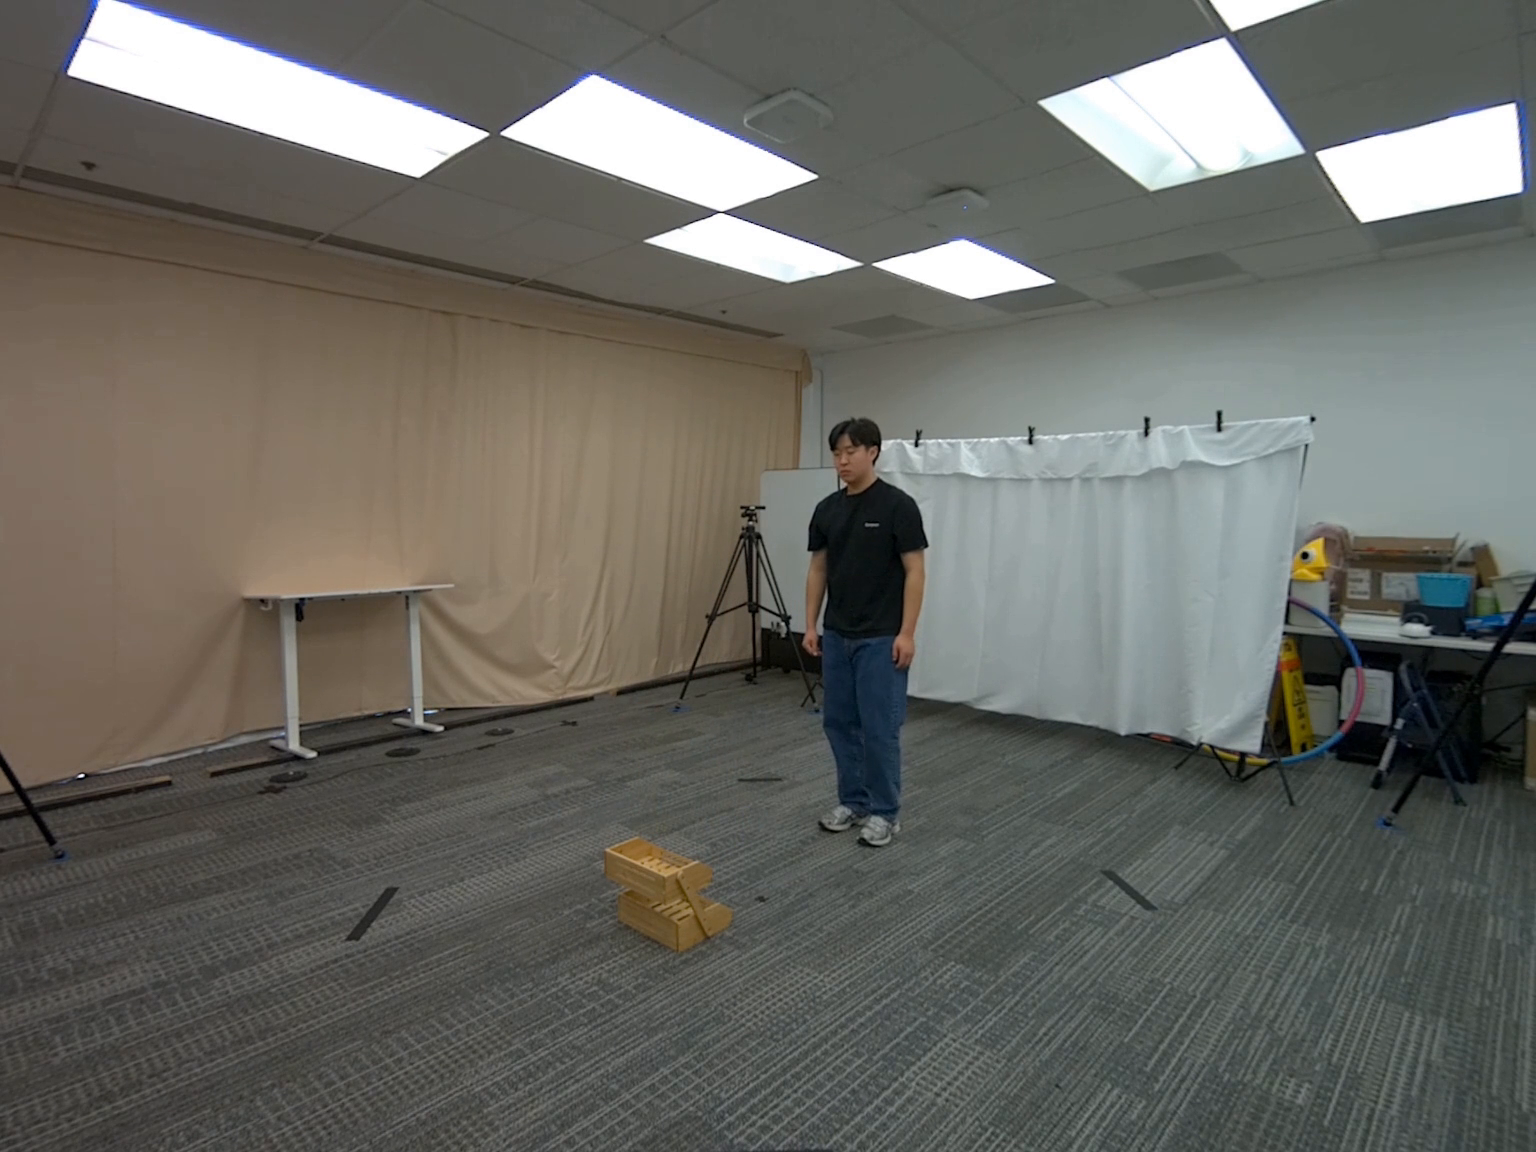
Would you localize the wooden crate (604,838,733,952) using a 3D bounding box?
[{"bbox_3d":[-0.326,1.039,2.786,0.335,0.273,0.293,2,5,43],"label":"wooden crate"}]
